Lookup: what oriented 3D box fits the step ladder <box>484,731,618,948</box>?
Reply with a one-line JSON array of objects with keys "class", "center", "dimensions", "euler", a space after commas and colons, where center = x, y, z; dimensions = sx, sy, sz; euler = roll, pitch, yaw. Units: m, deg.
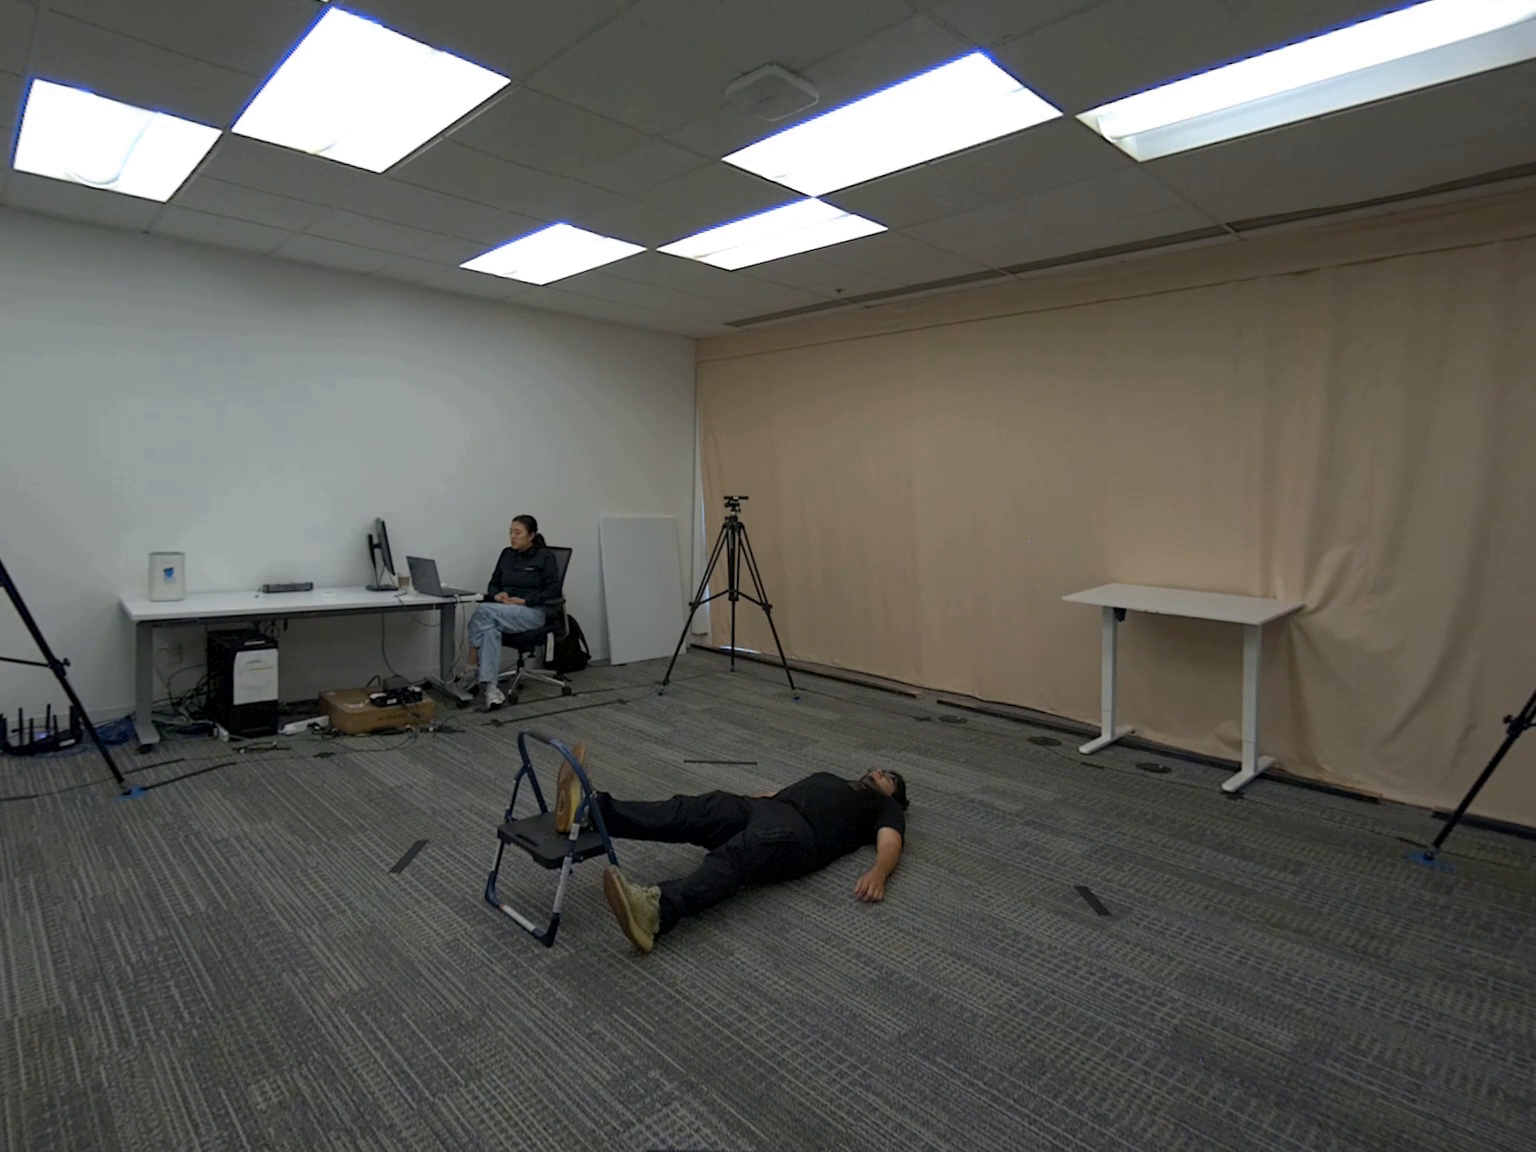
[{"class": "step ladder", "center": [-0.703, 0.816, 2.821], "dimensions": [0.441, 0.604, 0.341], "euler": [4, 5, 45]}]
